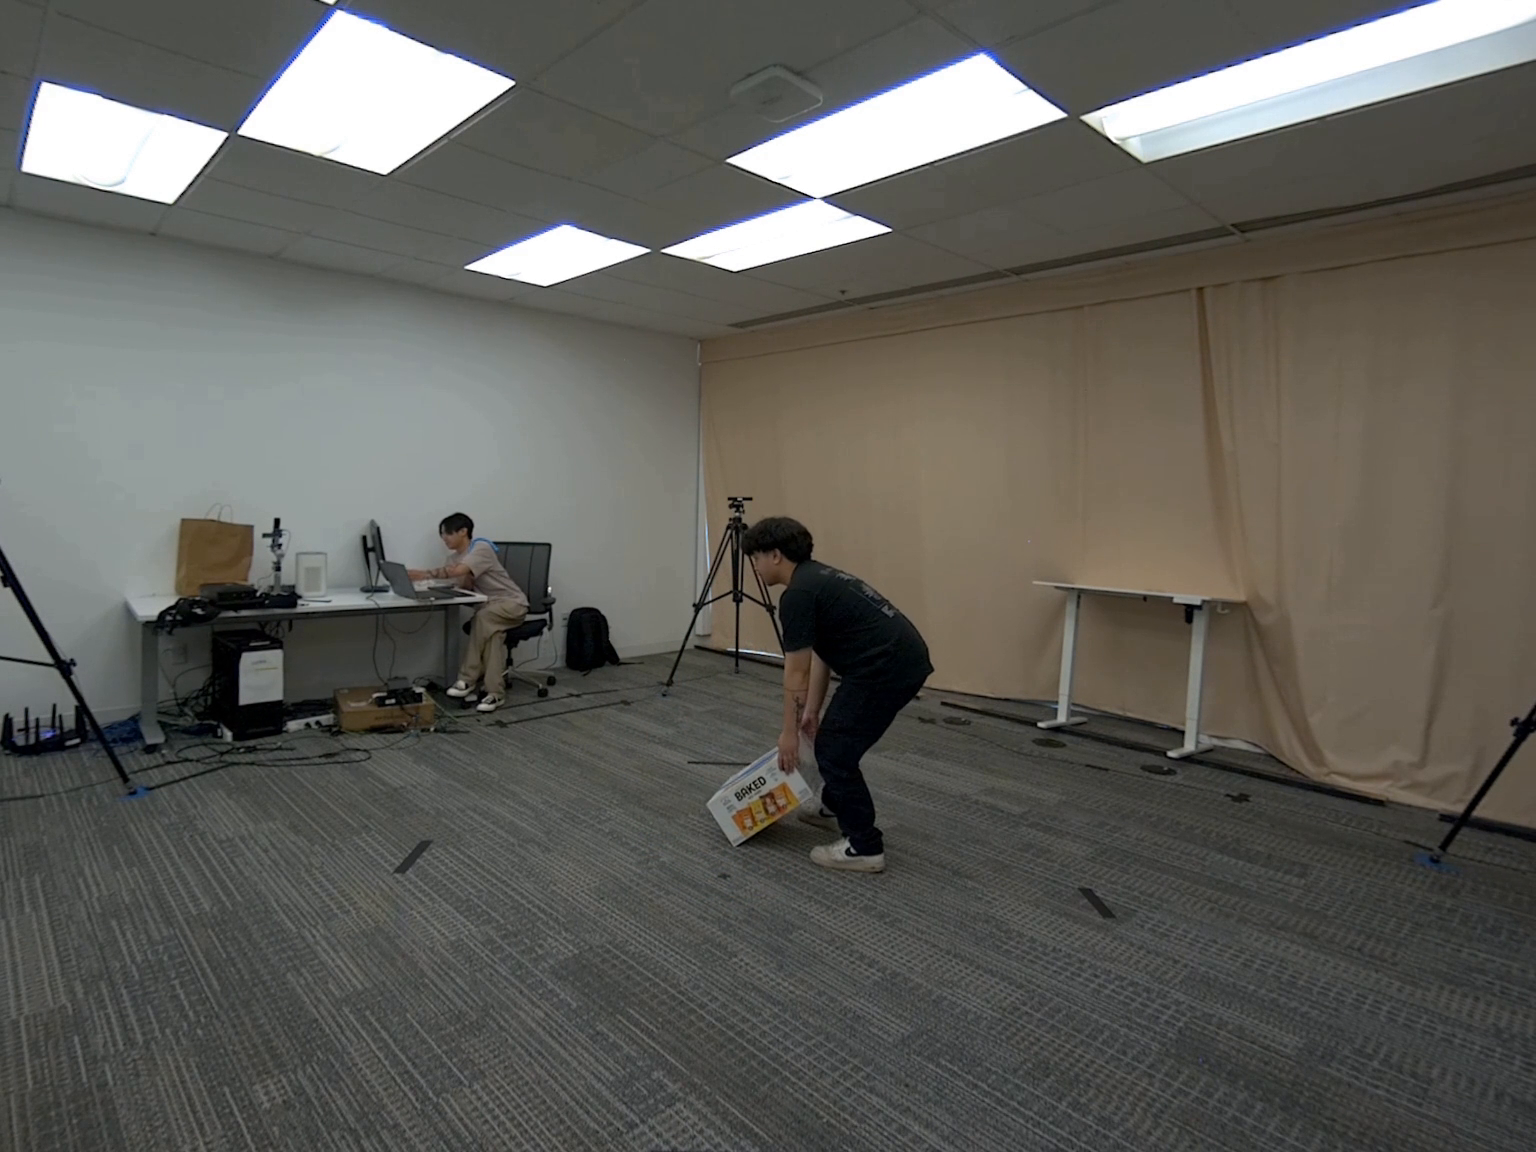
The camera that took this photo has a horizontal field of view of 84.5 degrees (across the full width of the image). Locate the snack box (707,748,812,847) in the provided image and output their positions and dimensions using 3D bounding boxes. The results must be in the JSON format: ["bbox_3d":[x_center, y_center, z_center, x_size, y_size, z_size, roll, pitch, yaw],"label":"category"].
[{"bbox_3d":[-0.002,0.875,3.492,0.406,0.207,0.337,-36,-5,14],"label":"snack box"}]
